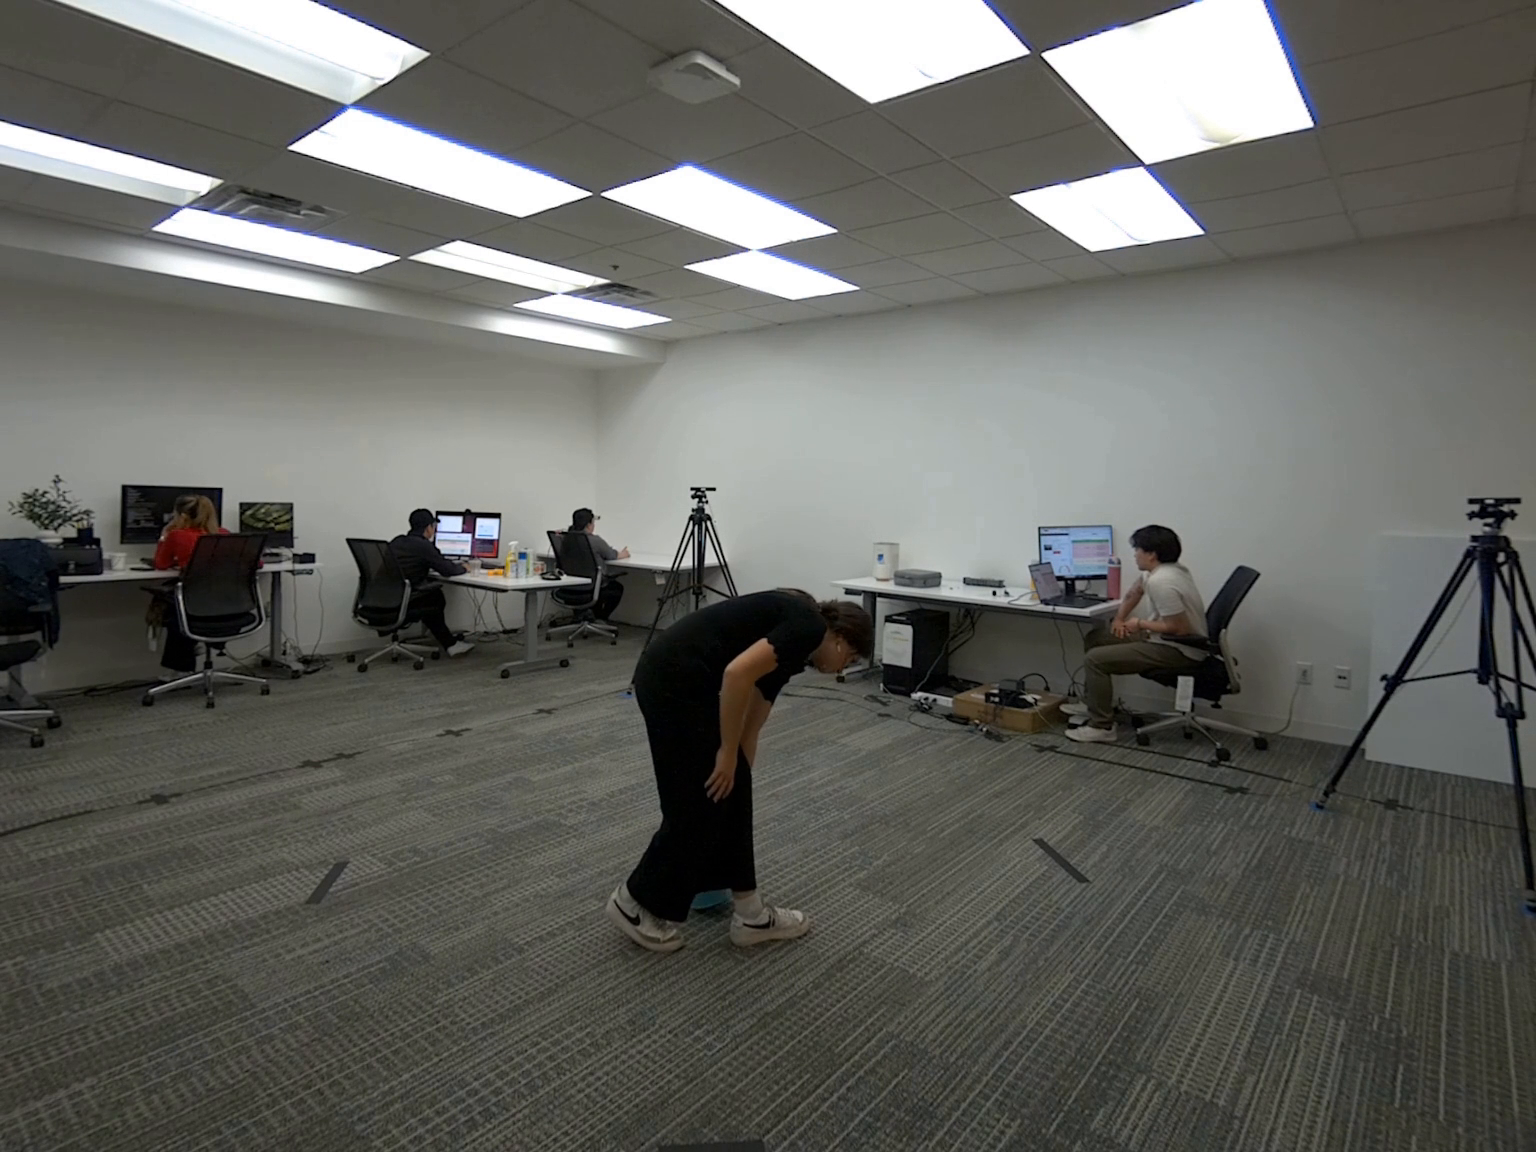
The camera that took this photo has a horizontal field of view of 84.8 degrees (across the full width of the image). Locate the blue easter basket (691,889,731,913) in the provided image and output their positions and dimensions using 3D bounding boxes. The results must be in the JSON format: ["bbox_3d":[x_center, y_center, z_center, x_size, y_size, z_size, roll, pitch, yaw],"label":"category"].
[{"bbox_3d":[-0.209,0.984,2.832,0.243,0.156,0.243,-21,-1,-3],"label":"blue easter basket"}]
